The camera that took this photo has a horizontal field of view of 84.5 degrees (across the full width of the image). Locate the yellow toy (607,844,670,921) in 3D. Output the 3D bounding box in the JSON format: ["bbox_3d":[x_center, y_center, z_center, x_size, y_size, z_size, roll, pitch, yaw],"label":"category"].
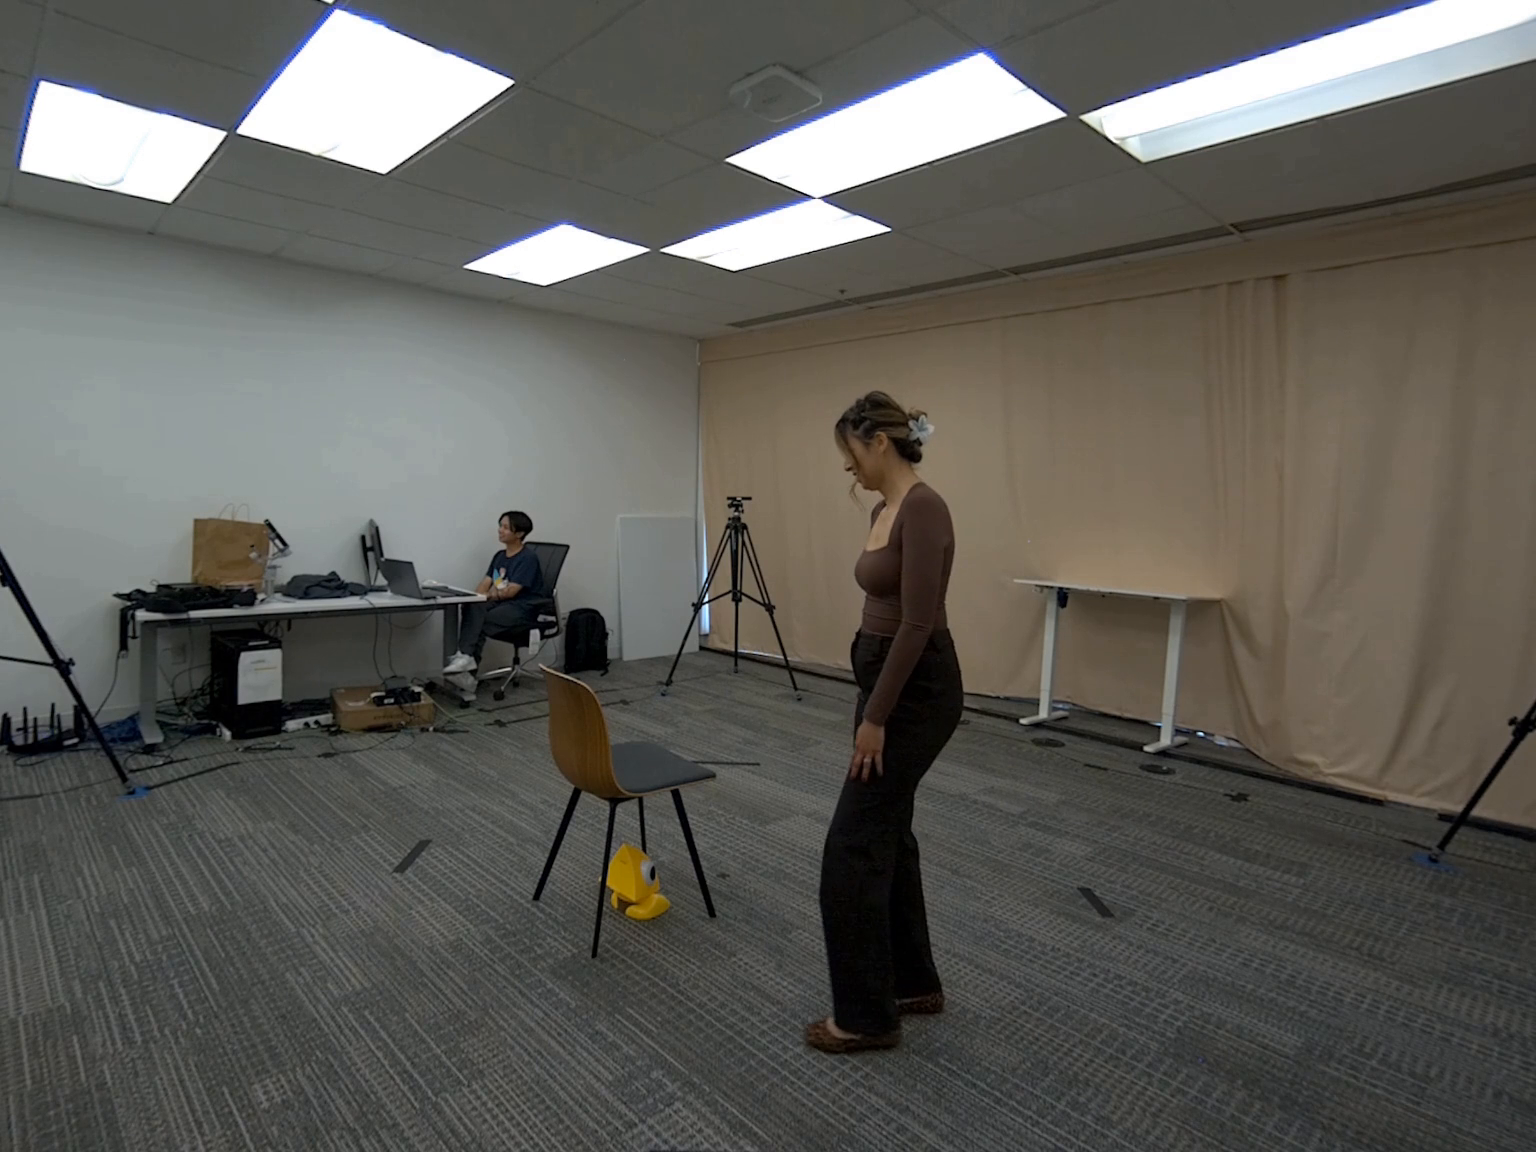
[{"bbox_3d":[-0.453,1.013,2.858,0.189,0.230,0.210,-3,6,-44],"label":"yellow toy"}]
